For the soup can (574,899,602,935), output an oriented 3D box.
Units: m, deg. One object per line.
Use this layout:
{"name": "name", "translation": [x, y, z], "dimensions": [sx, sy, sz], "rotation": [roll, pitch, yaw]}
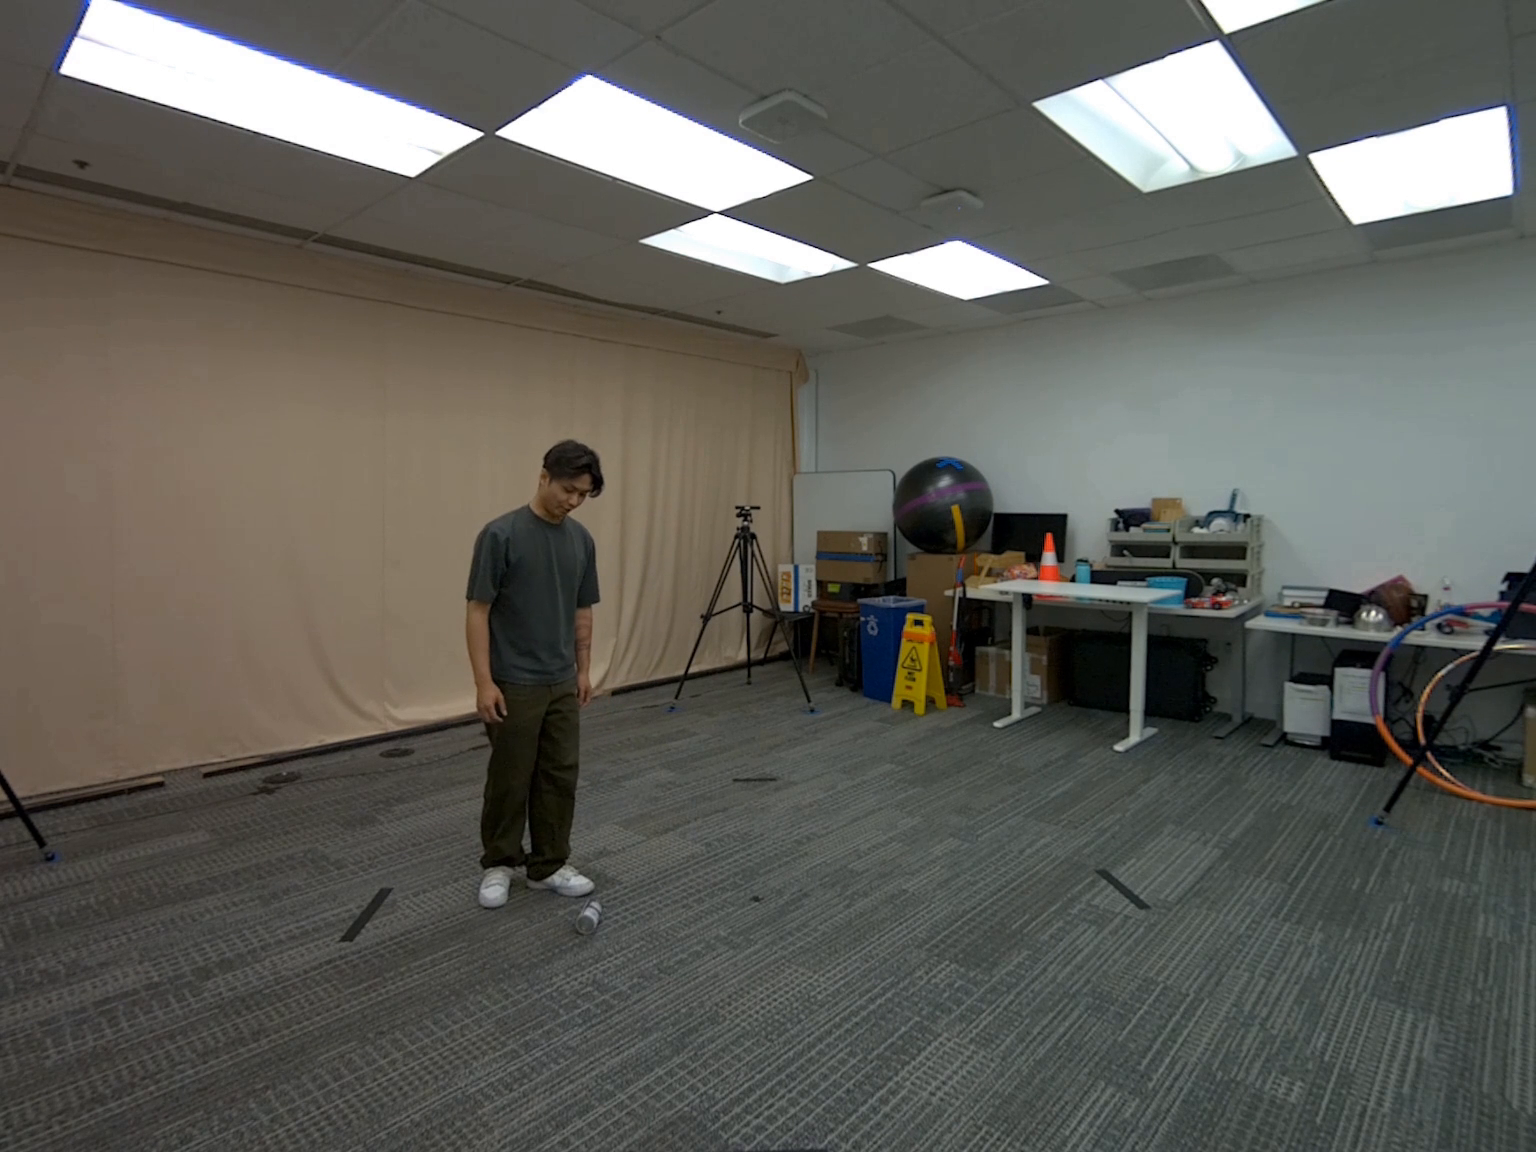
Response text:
{"name": "soup can", "translation": [-0.594, 1.127, 2.790], "dimensions": [0.067, 0.067, 0.121], "rotation": [0, 2, 4]}
